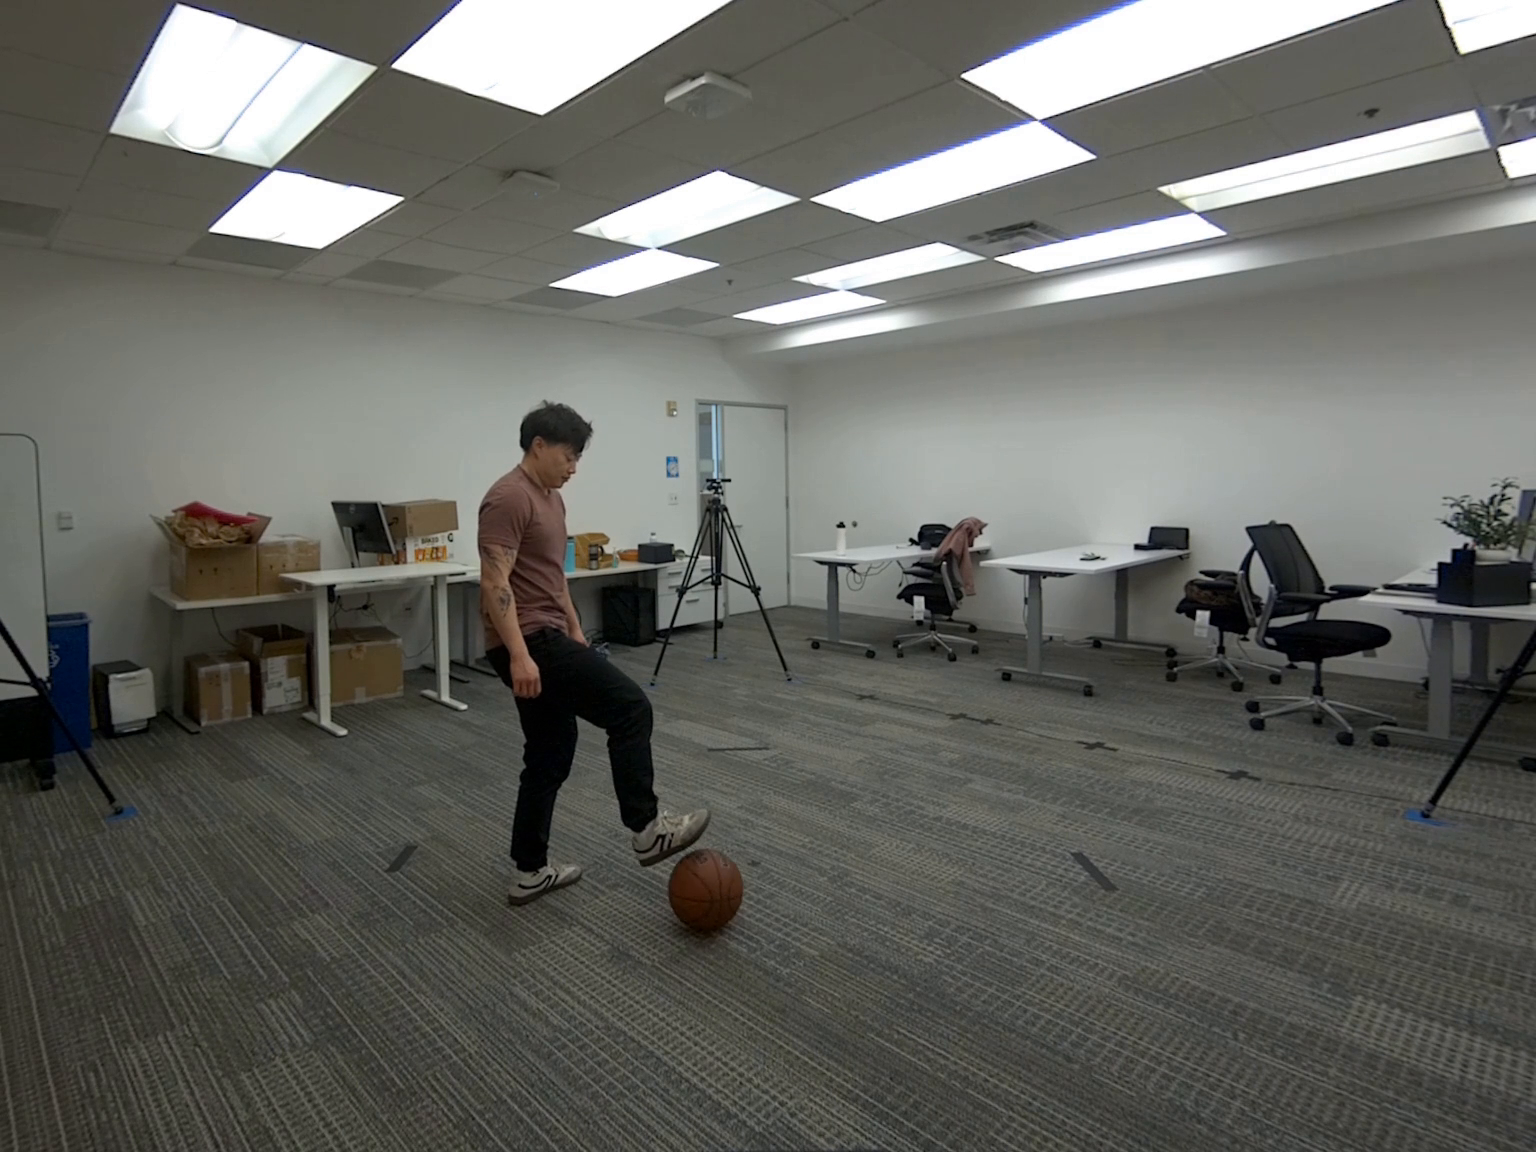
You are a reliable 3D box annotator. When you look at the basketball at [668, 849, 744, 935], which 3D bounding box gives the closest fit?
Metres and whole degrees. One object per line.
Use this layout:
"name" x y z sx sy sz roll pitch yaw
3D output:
"basketball" -0.190 0.980 2.668 0.236 0.235 0.237 -1 5 -2
